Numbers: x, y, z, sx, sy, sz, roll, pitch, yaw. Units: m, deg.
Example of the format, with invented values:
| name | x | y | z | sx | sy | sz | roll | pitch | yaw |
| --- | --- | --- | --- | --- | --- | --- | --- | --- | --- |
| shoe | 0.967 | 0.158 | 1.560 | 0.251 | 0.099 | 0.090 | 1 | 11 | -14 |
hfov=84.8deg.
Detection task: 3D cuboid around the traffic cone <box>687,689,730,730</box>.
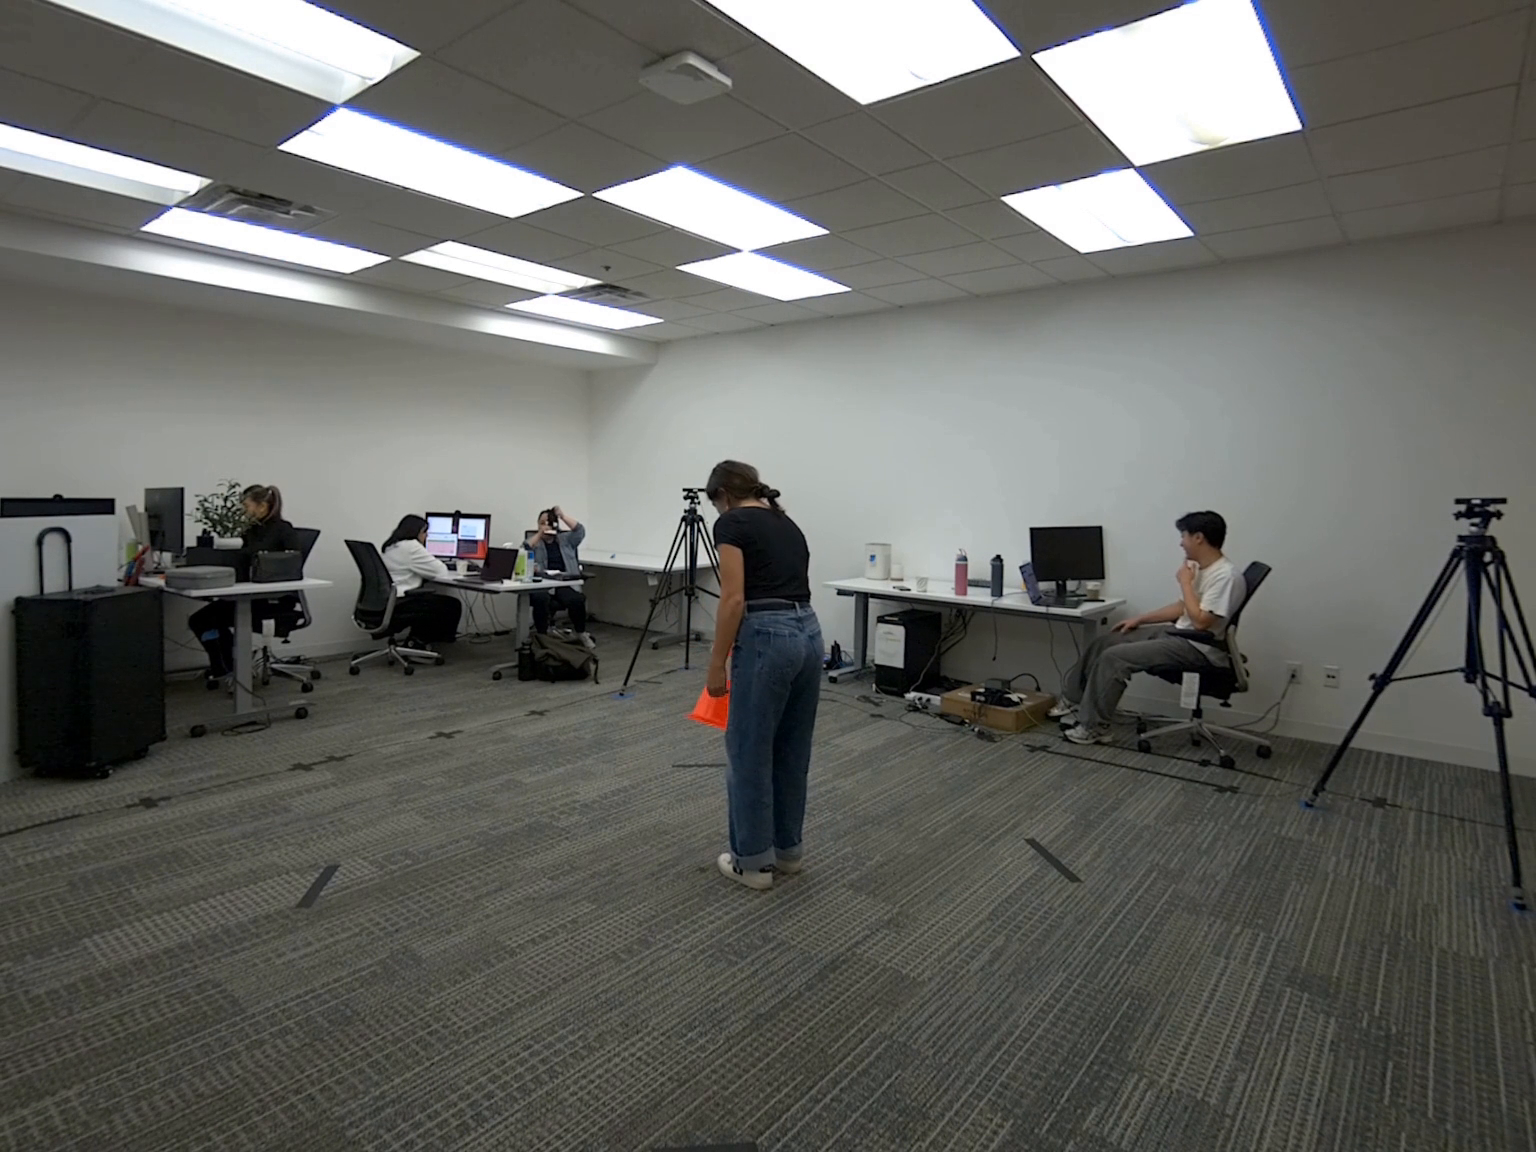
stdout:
| name | x | y | z | sx | sy | sz | roll | pitch | yaw |
| --- | --- | --- | --- | --- | --- | --- | --- | --- | --- |
| traffic cone | -0.179 | 0.378 | 3.368 | 0.200 | 0.388 | 0.207 | 21 | -18 | -15 |
